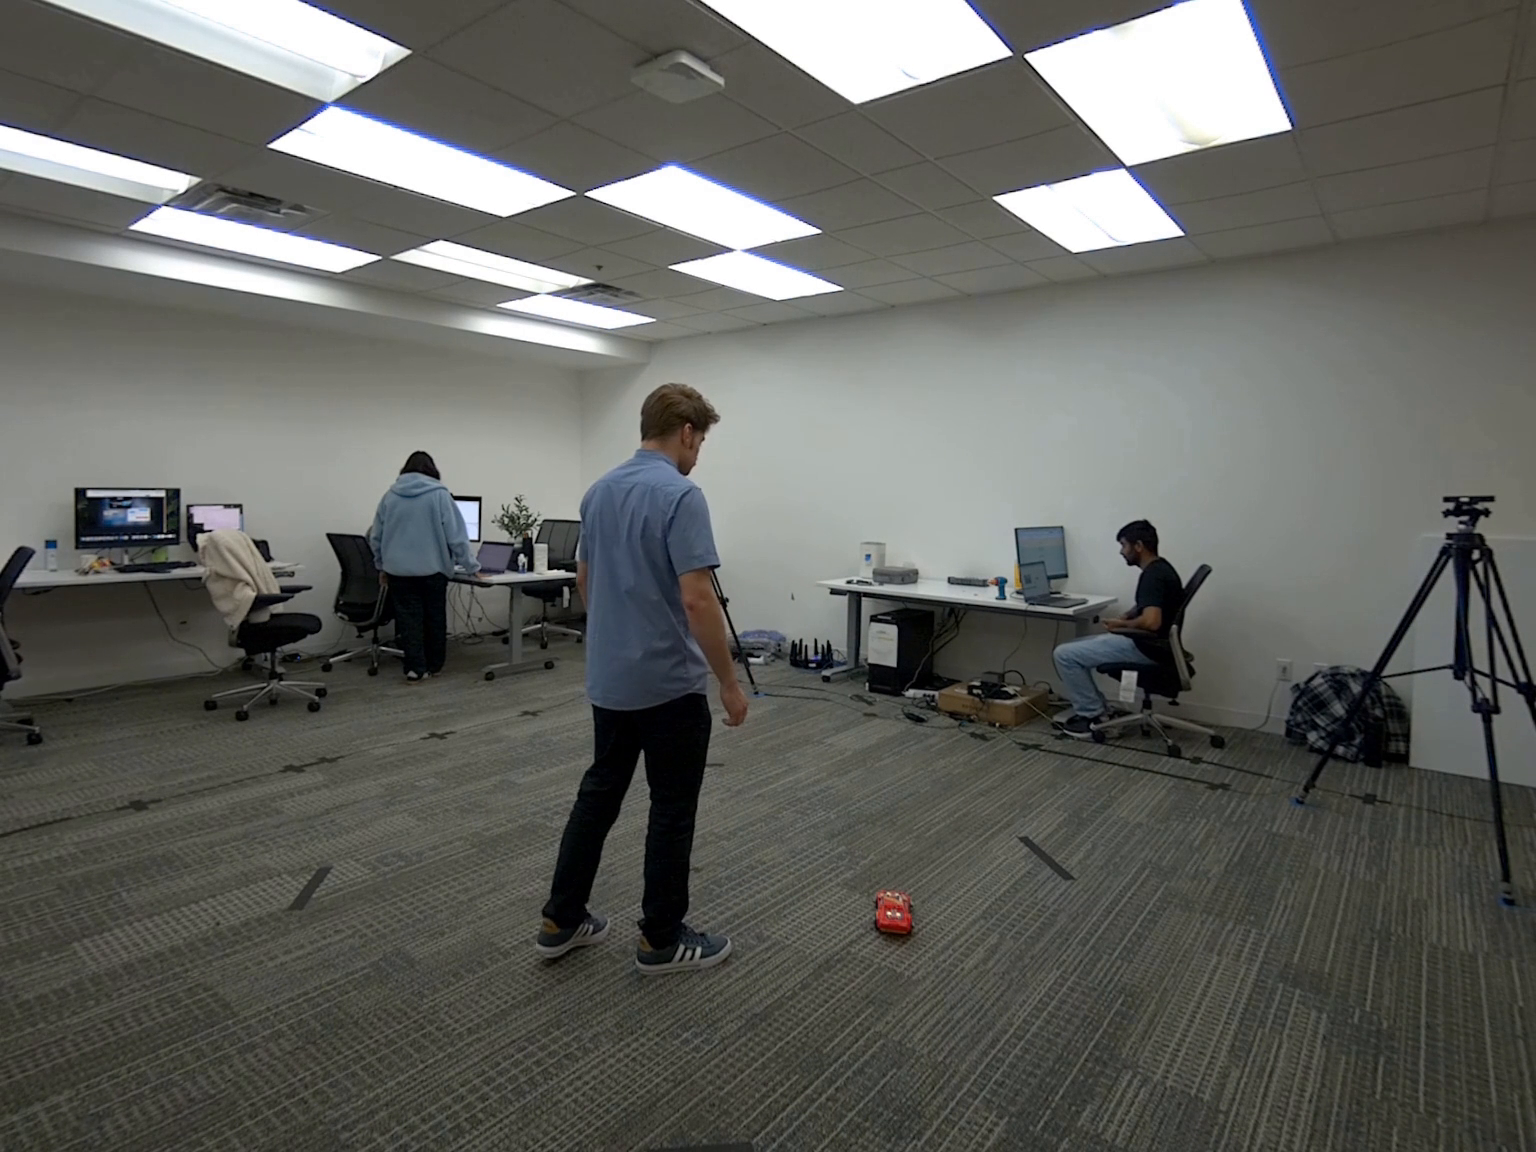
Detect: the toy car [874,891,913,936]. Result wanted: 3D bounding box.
[{"bbox_3d":[0.404,1.087,2.744,0.132,0.084,0.250,2,-5,8],"label":"toy car"}]
